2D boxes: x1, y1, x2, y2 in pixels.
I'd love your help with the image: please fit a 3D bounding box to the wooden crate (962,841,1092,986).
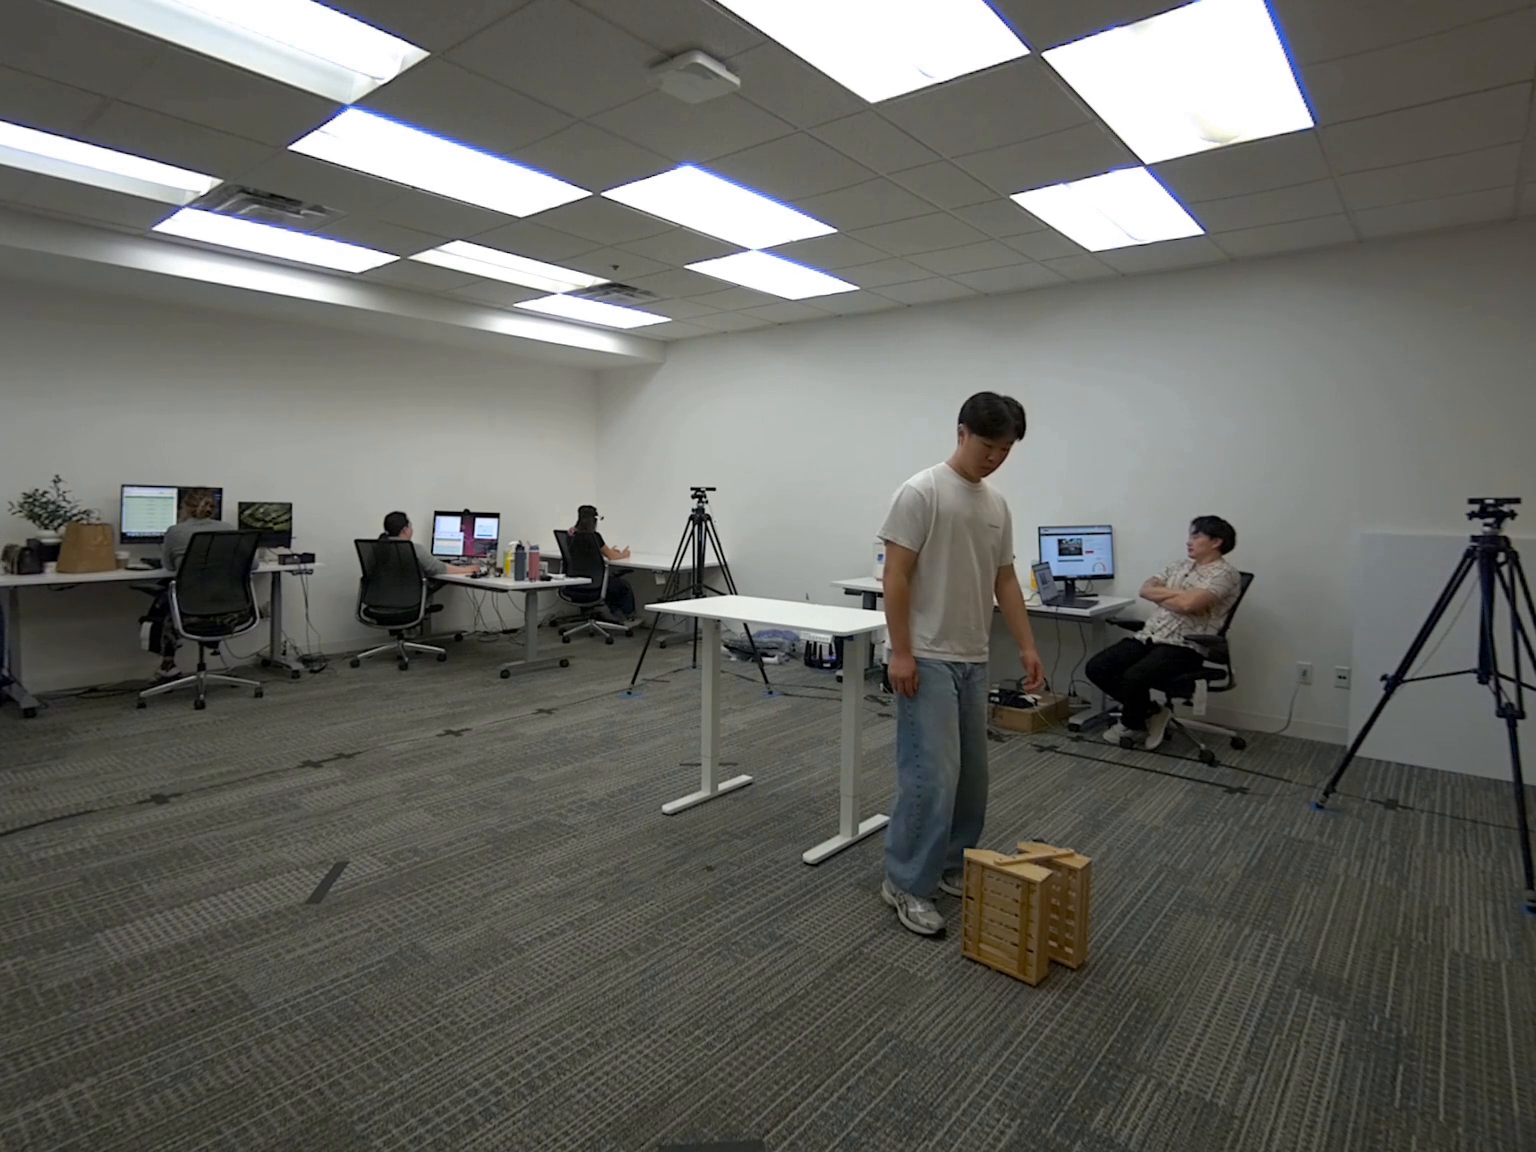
[{"bbox_3d":[0.766,0.979,2.556,0.312,0.323,0.265,6,7,42],"label":"wooden crate"}]
